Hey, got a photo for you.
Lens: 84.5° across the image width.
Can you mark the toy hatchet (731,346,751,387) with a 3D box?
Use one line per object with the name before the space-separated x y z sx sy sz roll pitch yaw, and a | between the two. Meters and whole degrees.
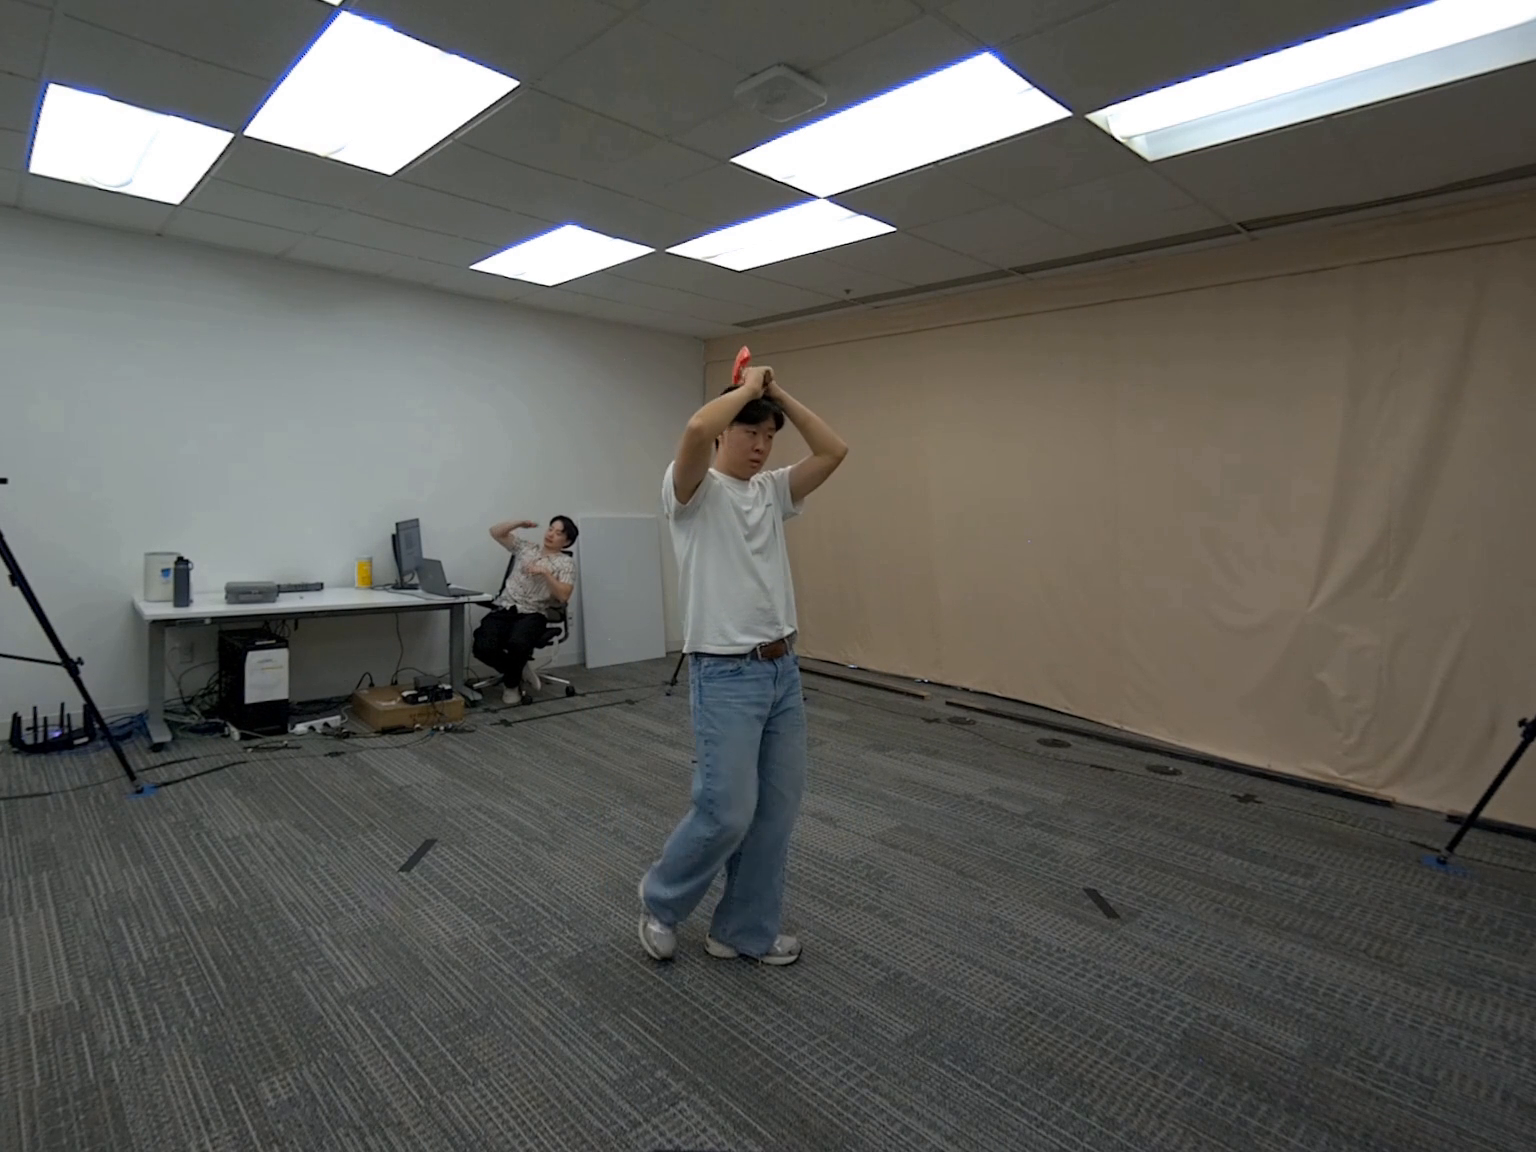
toy hatchet | -0.063 -0.643 2.554 0.029 0.131 0.275 10 5 -22
